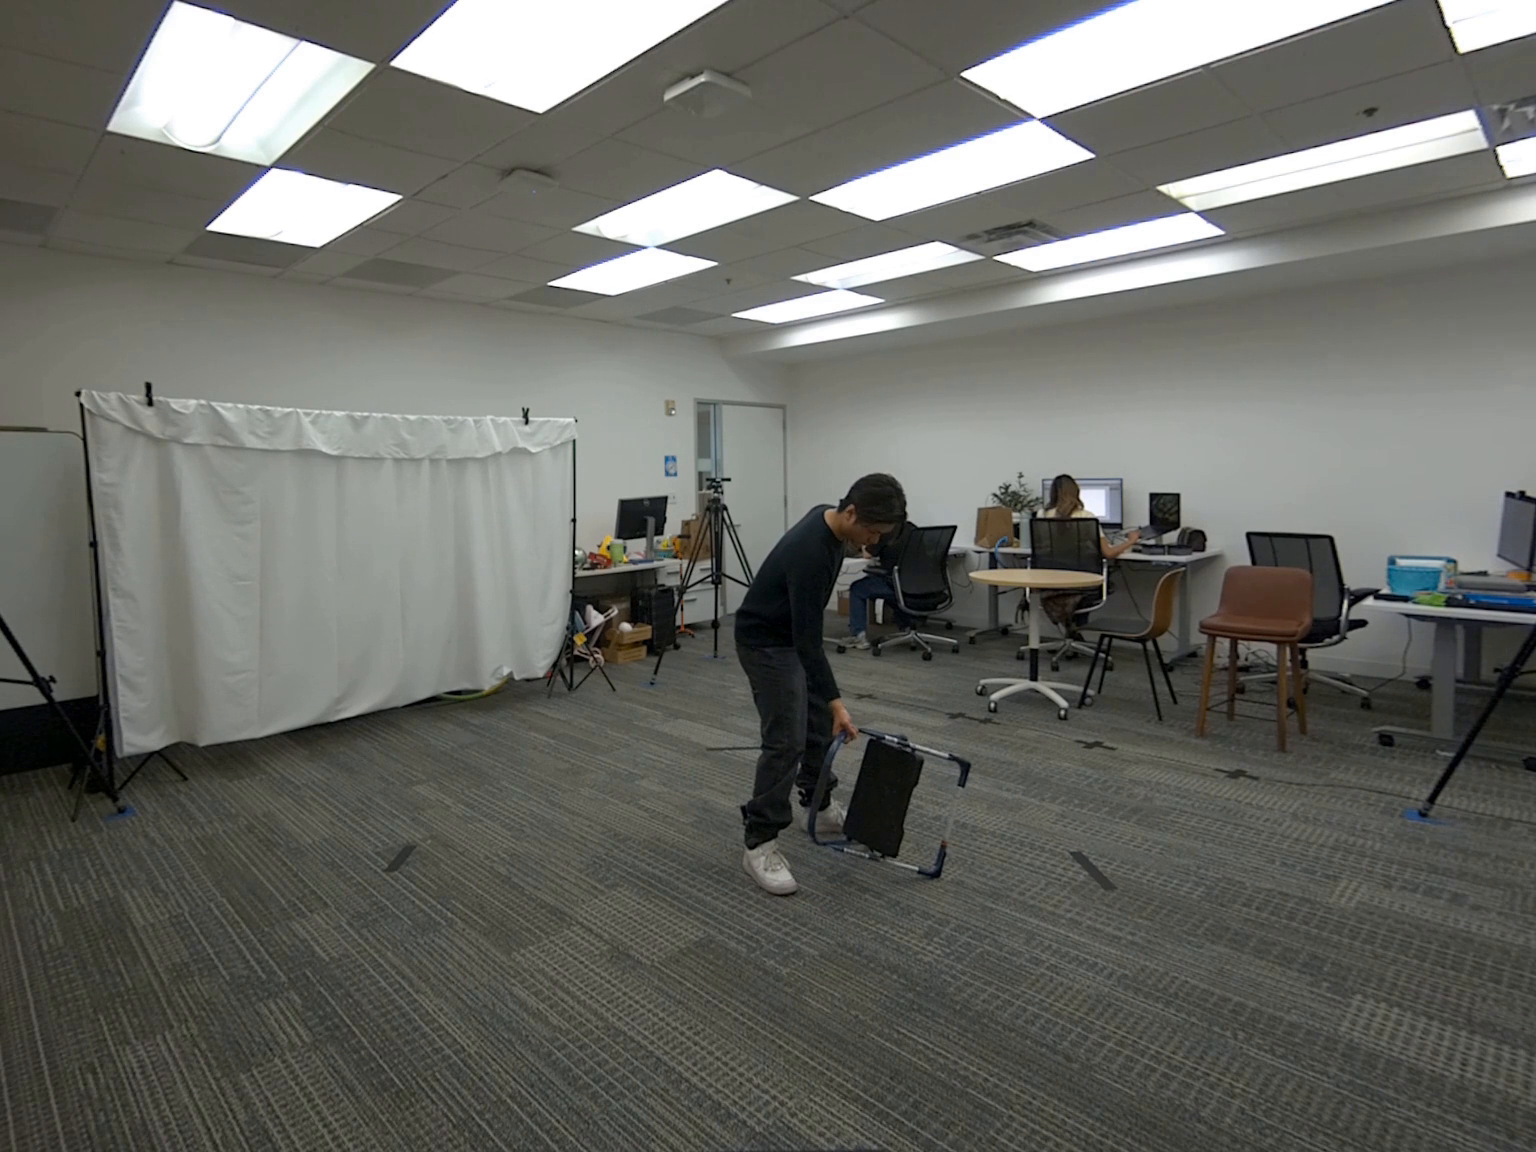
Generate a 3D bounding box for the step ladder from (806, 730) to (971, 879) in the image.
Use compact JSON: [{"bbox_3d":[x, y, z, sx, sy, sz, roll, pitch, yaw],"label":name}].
[{"bbox_3d":[0.343,0.746,2.962,0.585,0.432,0.360,22,-8,-36],"label":"step ladder"}]
